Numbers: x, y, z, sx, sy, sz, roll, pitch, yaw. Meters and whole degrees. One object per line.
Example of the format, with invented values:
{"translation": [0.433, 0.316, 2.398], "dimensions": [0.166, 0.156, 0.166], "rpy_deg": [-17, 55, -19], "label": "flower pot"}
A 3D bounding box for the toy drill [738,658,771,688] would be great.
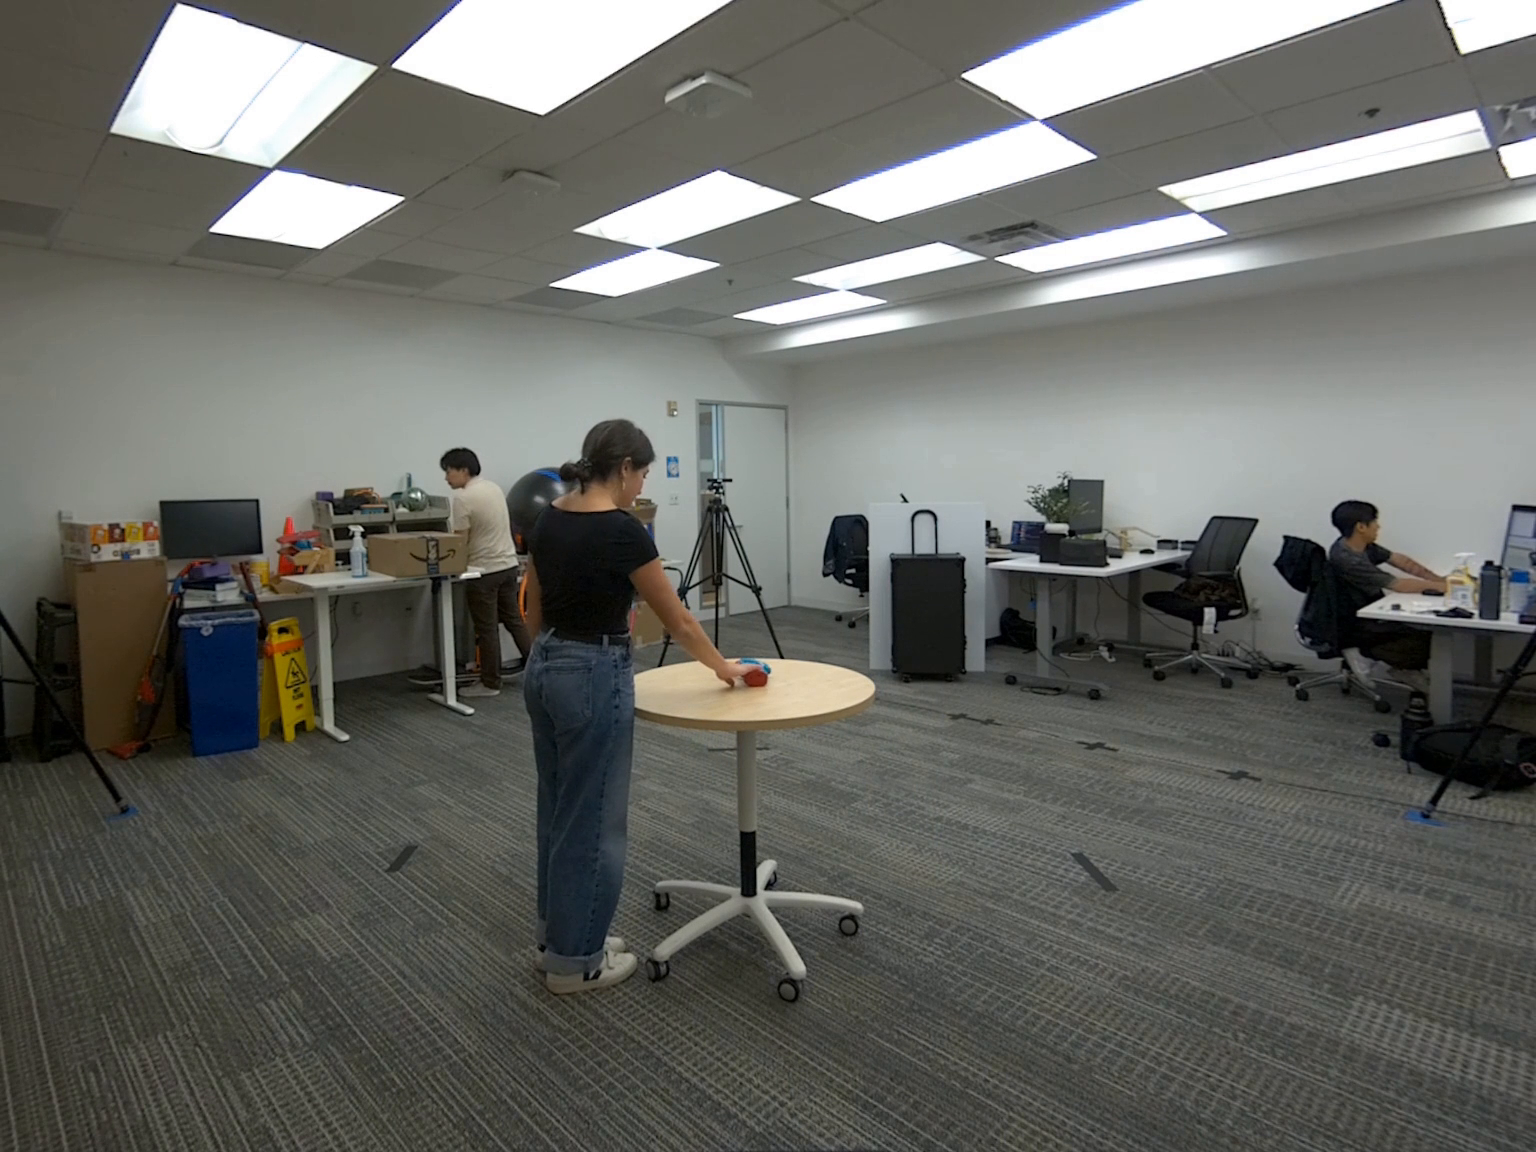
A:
{"translation": [-0.069, 0.291, 2.599], "dimensions": [0.170, 0.061, 0.147], "rpy_deg": [7, 8, 0], "label": "toy drill"}
